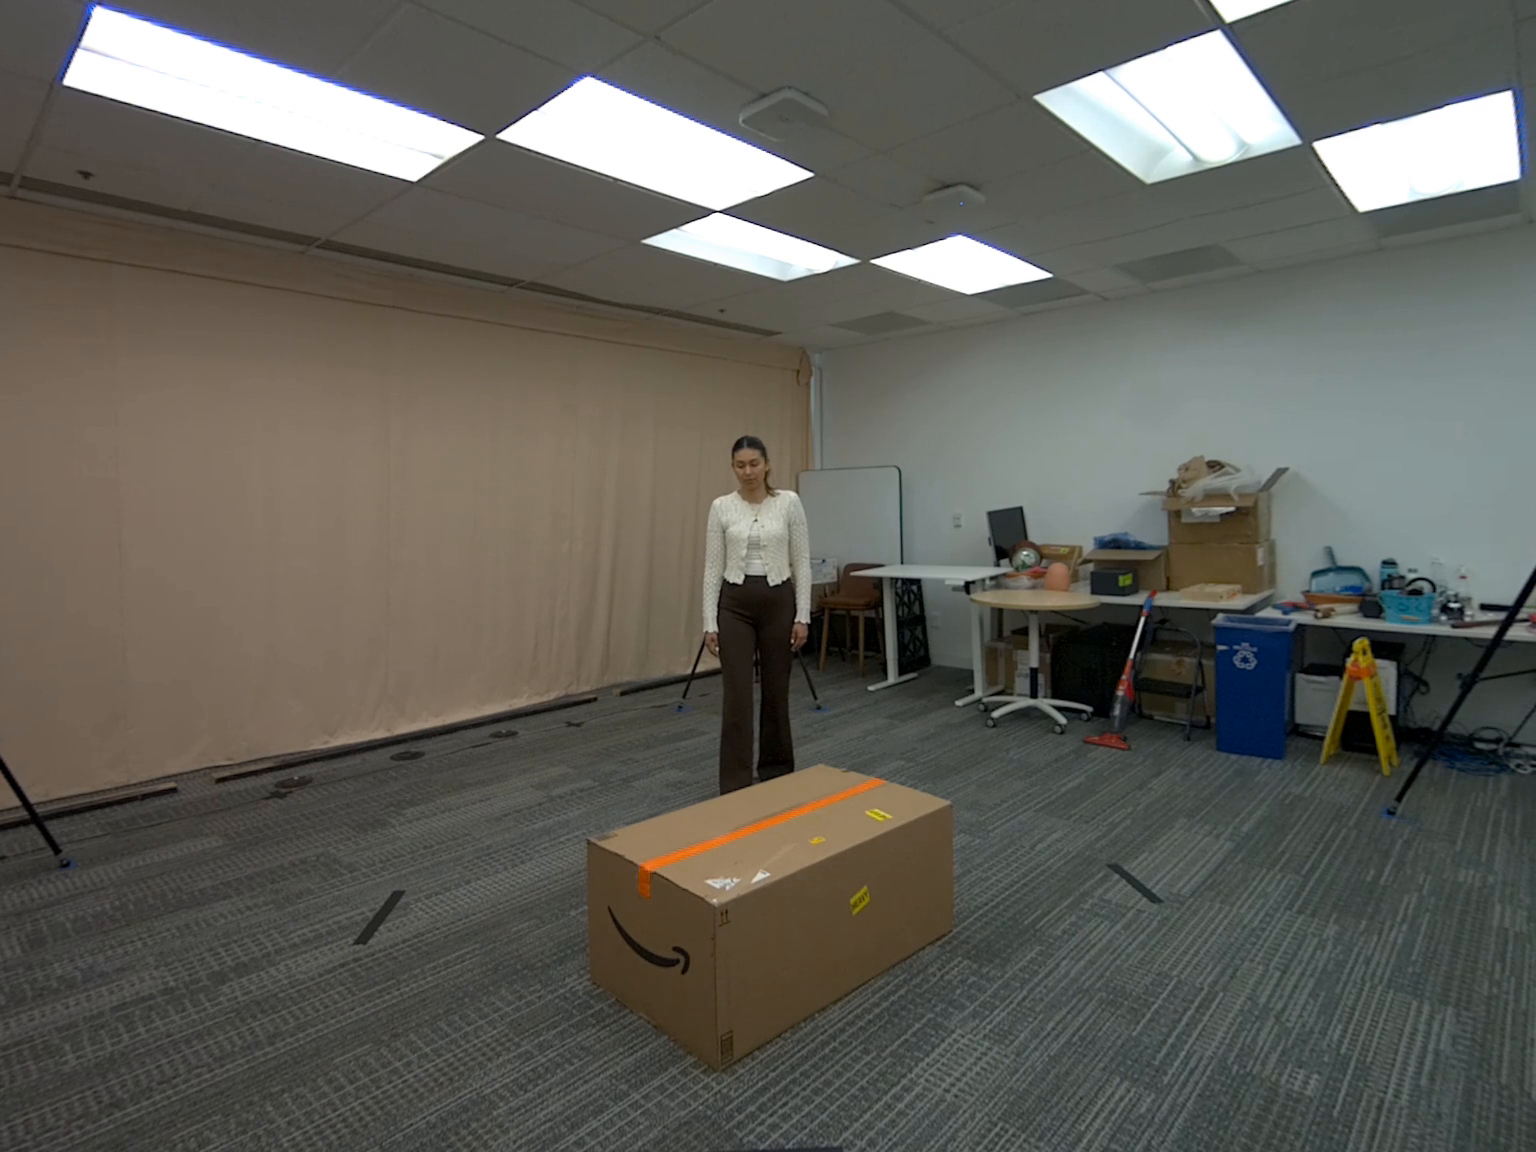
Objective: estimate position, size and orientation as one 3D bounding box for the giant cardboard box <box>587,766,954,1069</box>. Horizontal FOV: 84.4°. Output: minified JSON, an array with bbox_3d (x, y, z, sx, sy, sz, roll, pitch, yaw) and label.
[{"bbox_3d":[0.036,0.956,2.598,0.995,0.425,0.597,-5,6,-43],"label":"giant cardboard box"}]
